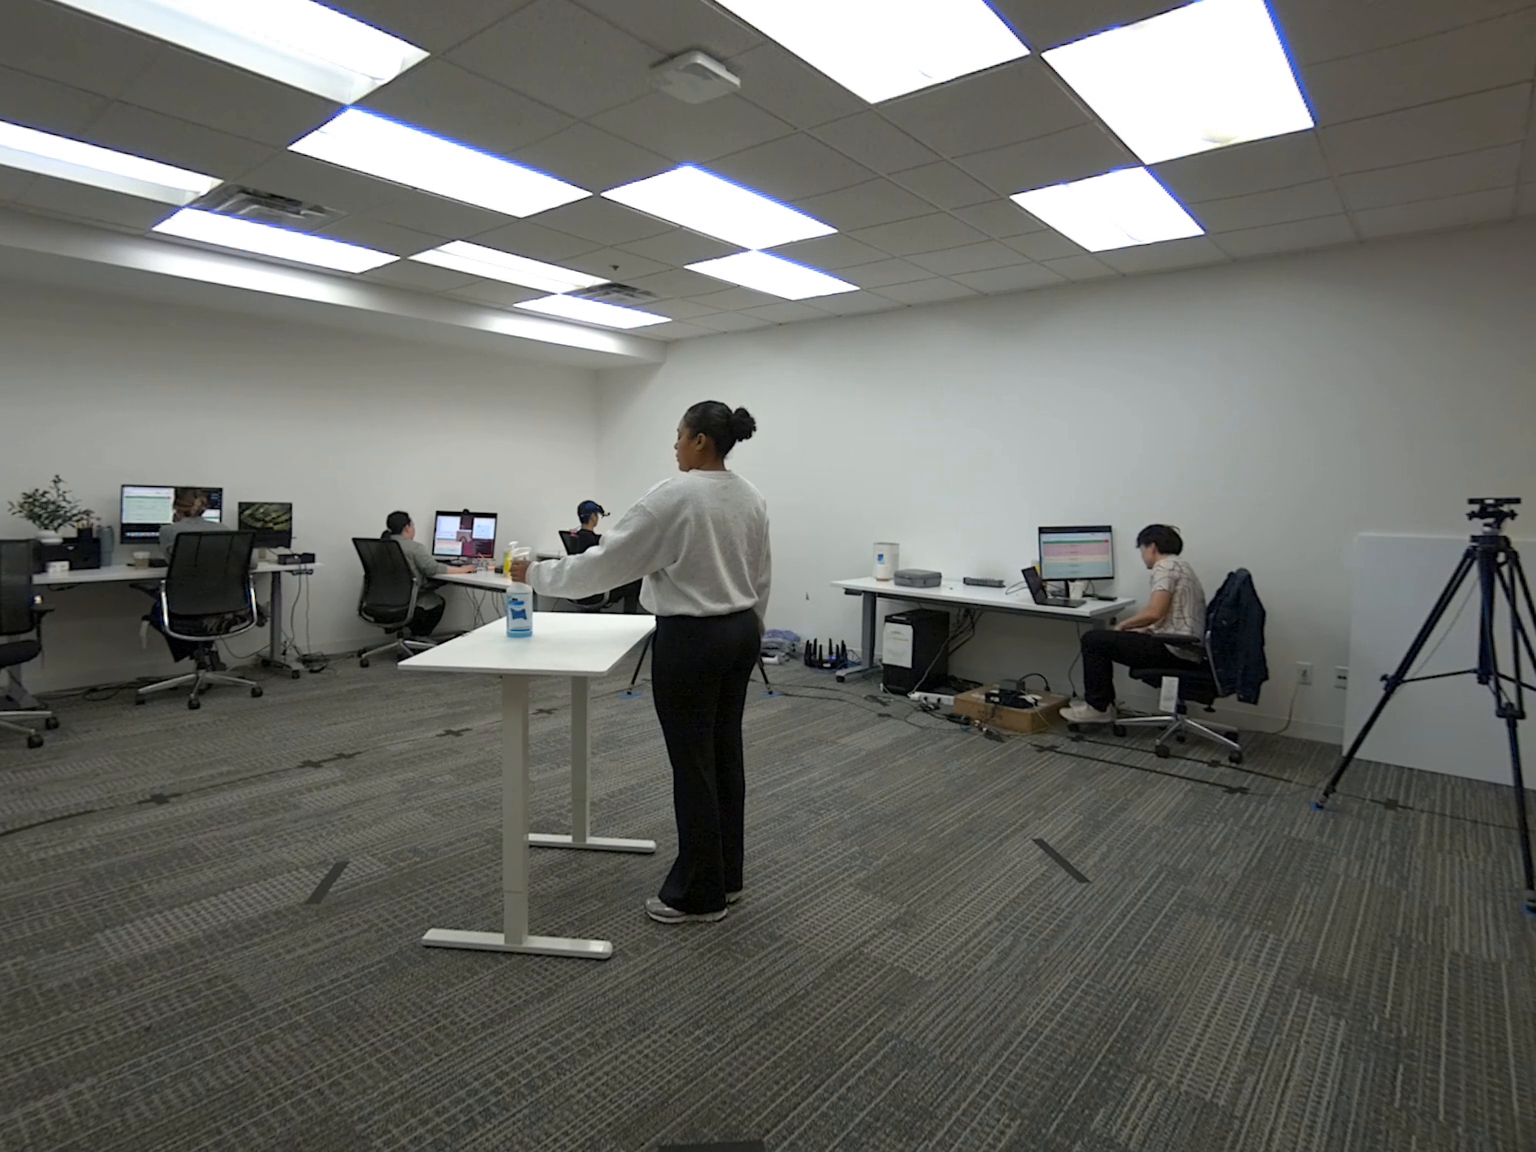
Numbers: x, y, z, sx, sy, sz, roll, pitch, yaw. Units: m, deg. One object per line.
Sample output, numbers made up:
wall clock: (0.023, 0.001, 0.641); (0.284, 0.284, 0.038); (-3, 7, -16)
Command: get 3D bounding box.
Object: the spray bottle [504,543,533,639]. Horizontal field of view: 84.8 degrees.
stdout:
spray bottle: (-0.848, 0.053, 2.867); (0.087, 0.297, 0.090); (-1, 2, -37)
